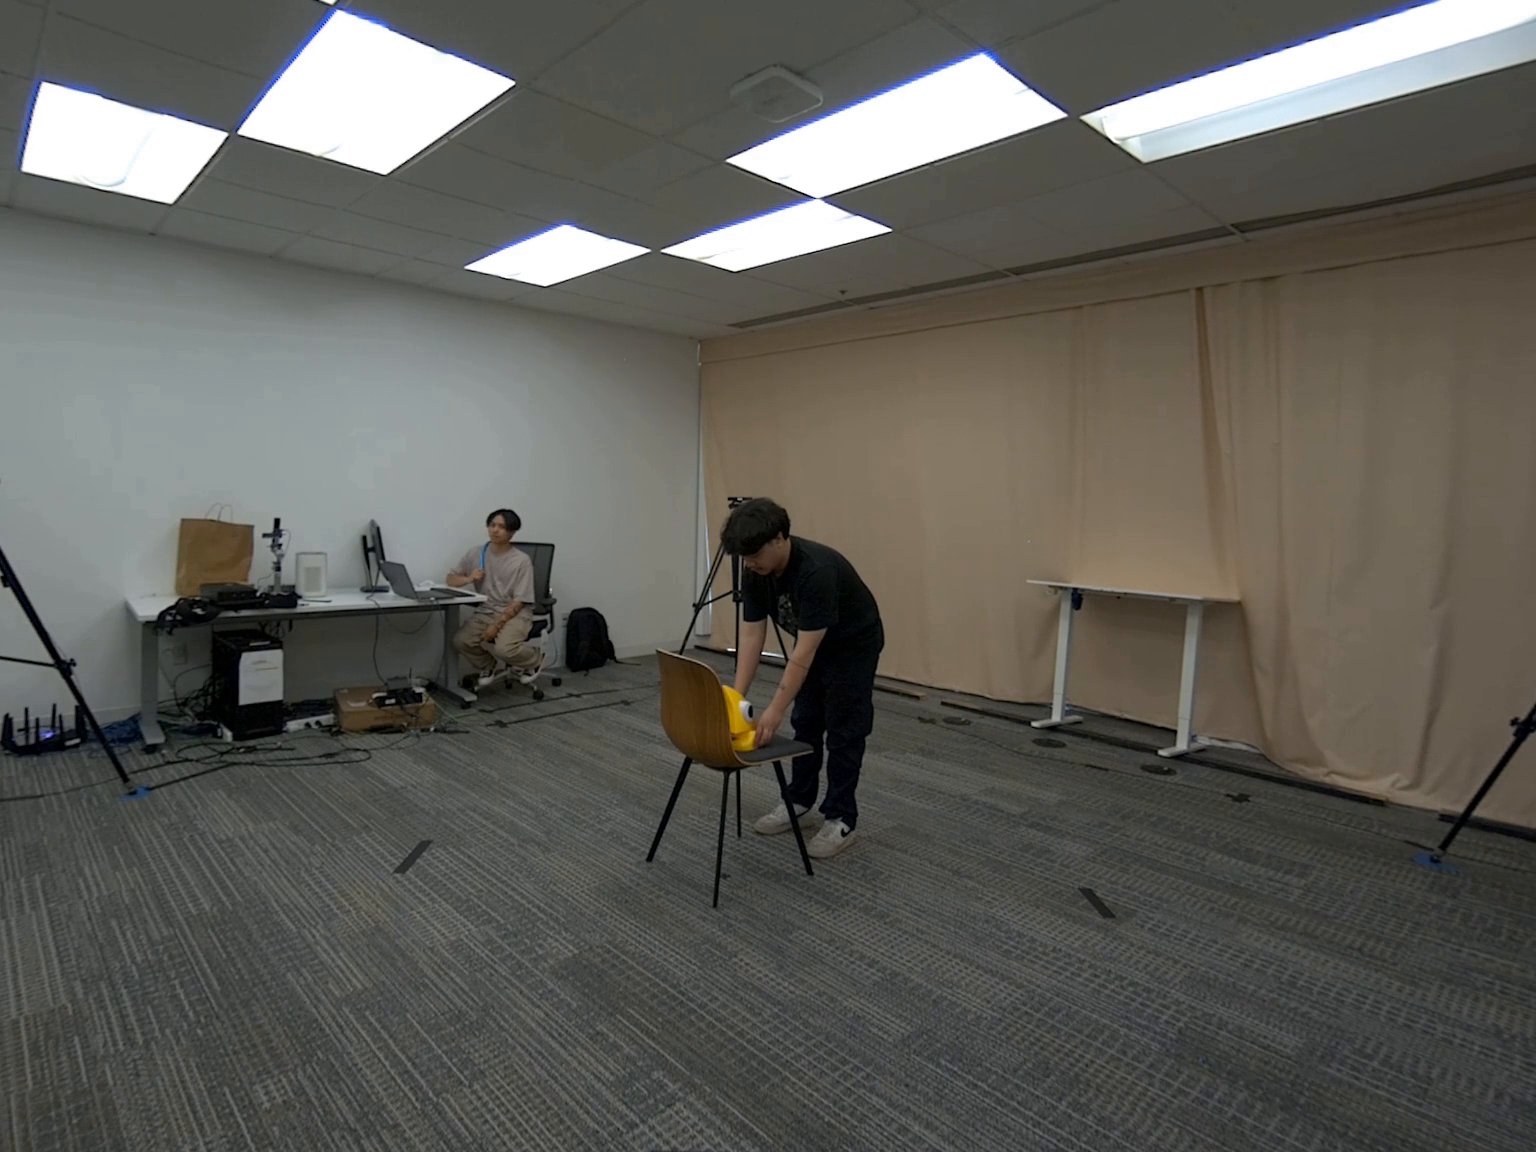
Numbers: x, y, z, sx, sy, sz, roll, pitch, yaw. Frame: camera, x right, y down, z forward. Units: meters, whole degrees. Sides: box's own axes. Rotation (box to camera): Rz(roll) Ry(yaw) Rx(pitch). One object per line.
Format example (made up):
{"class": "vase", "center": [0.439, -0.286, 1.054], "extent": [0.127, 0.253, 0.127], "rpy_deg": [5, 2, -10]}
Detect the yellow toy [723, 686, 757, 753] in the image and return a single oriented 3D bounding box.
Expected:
{"class": "yellow toy", "center": [-0.129, 0.513, 3.146], "extent": [0.189, 0.229, 0.210], "rpy_deg": [-8, 8, -38]}
